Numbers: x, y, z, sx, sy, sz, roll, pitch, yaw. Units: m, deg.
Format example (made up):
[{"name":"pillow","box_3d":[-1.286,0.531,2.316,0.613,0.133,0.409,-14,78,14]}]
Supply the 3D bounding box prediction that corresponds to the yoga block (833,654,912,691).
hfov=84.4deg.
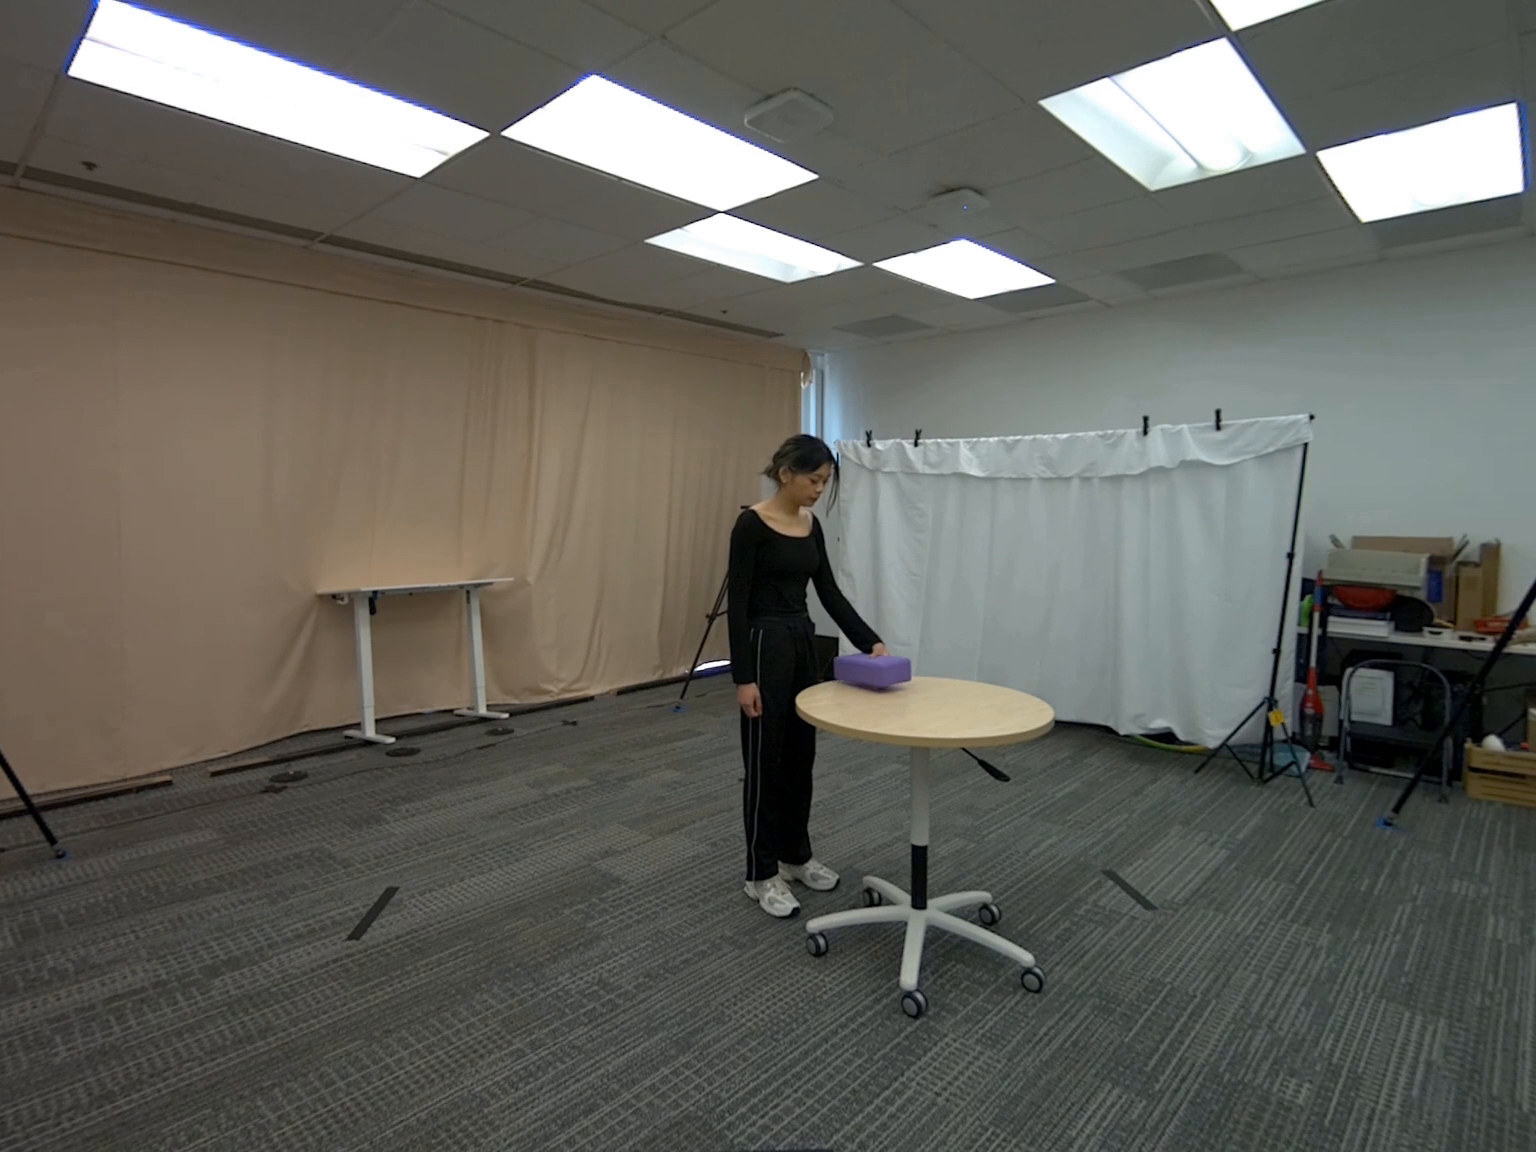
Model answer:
[{"name":"yoga block","box_3d":[0.365,0.307,2.817,0.145,0.076,0.236,-4,3,-34]}]
